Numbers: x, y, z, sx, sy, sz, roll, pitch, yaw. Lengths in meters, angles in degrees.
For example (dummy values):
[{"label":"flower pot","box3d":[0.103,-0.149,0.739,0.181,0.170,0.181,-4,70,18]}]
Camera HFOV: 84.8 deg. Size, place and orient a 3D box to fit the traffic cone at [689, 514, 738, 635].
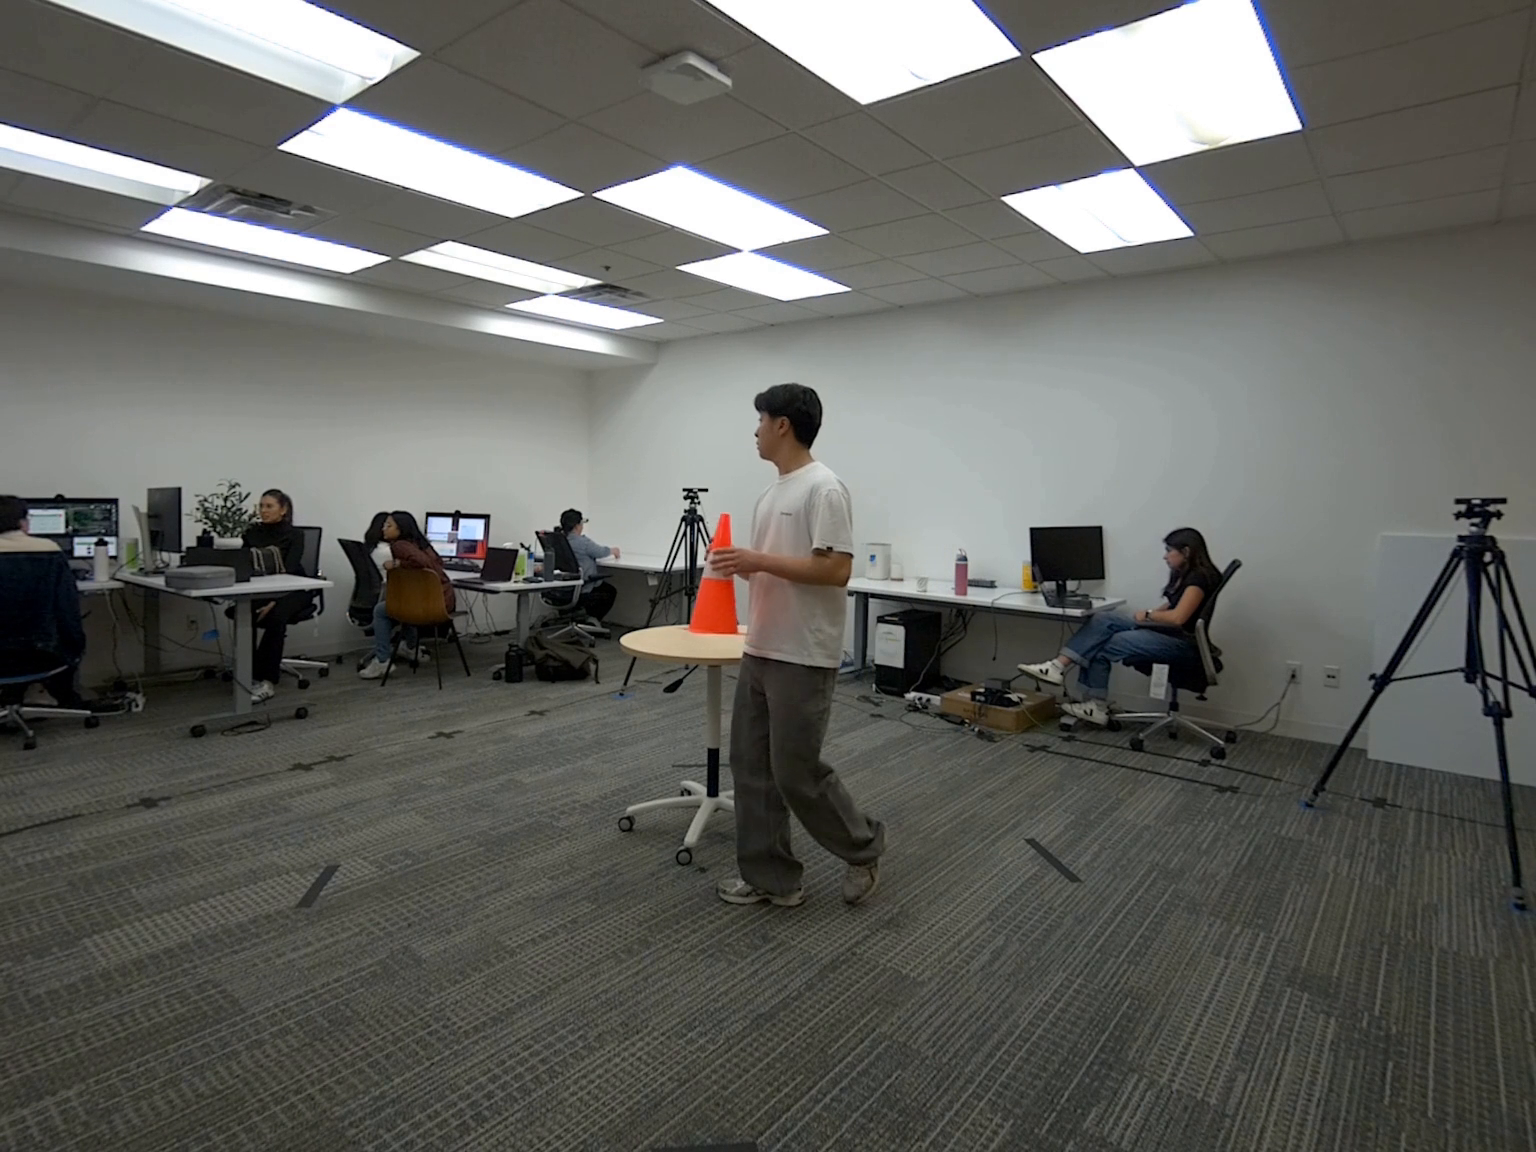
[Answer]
[{"label":"traffic cone","box3d":[-0.150,-0.013,2.738,0.198,0.385,0.209,7,-3,-23]}]
